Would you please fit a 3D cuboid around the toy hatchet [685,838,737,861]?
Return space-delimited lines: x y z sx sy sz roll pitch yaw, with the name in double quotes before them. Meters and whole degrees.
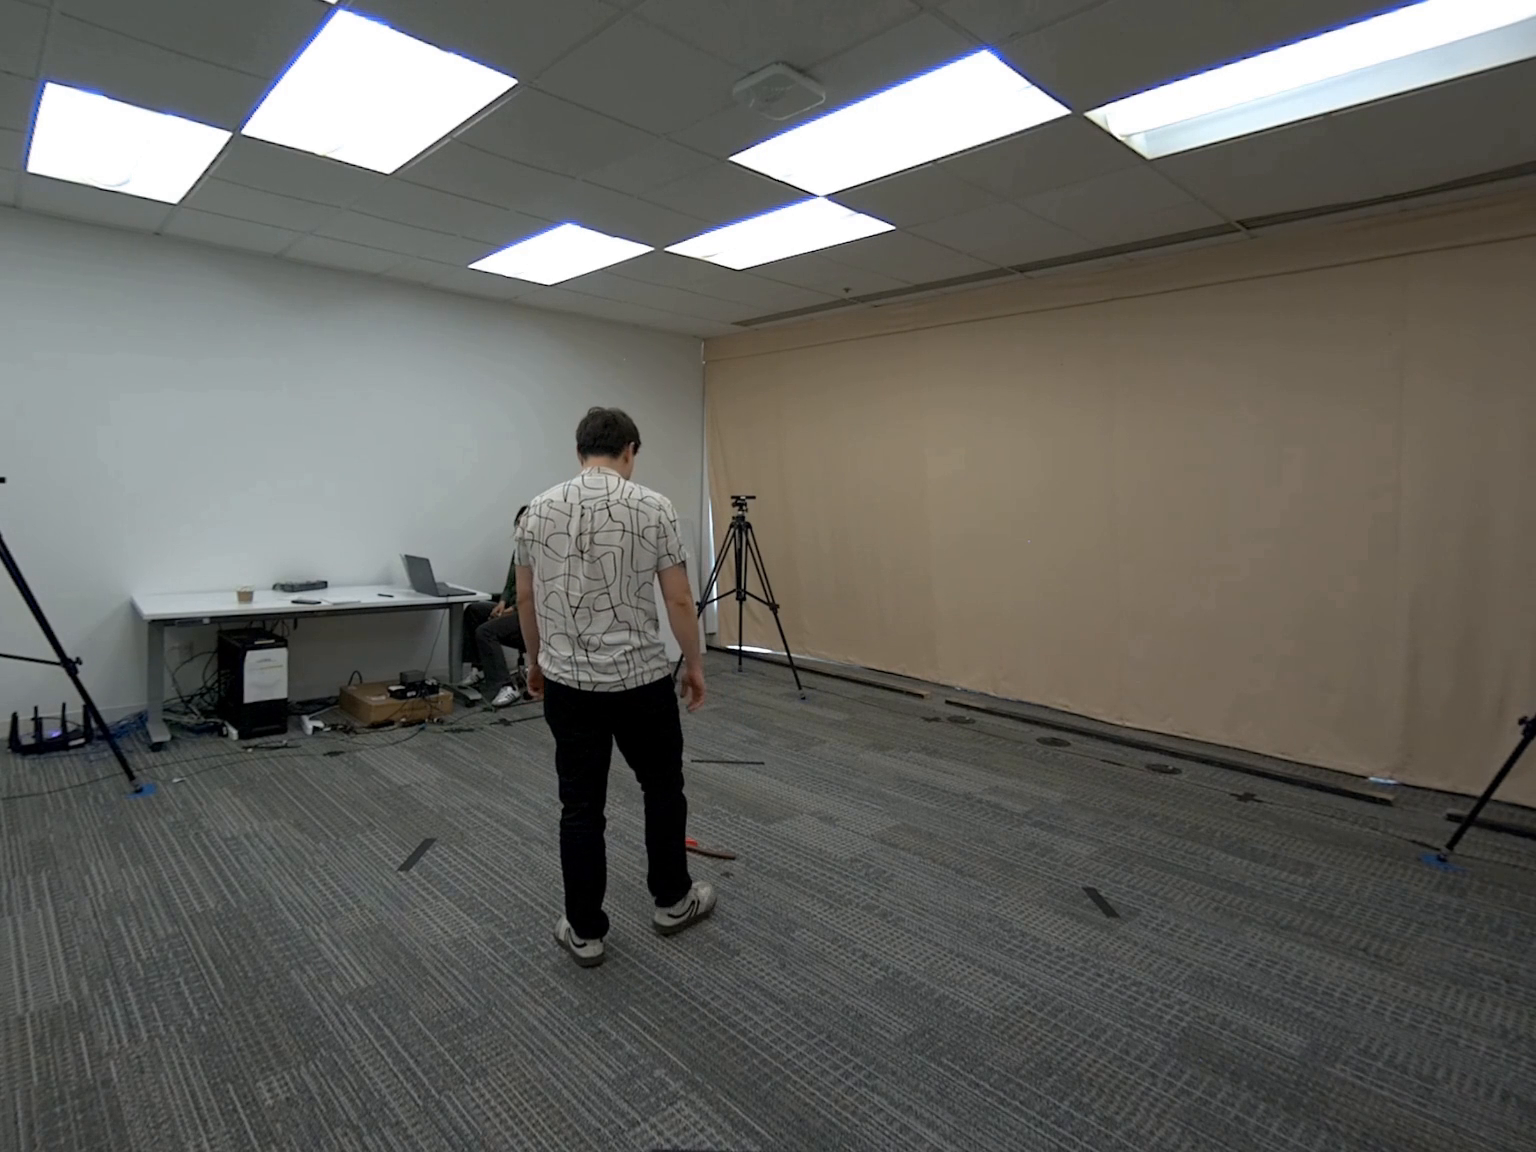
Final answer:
"toy hatchet" -0.253 1.072 3.315 0.273 0.029 0.129 5 1 13
